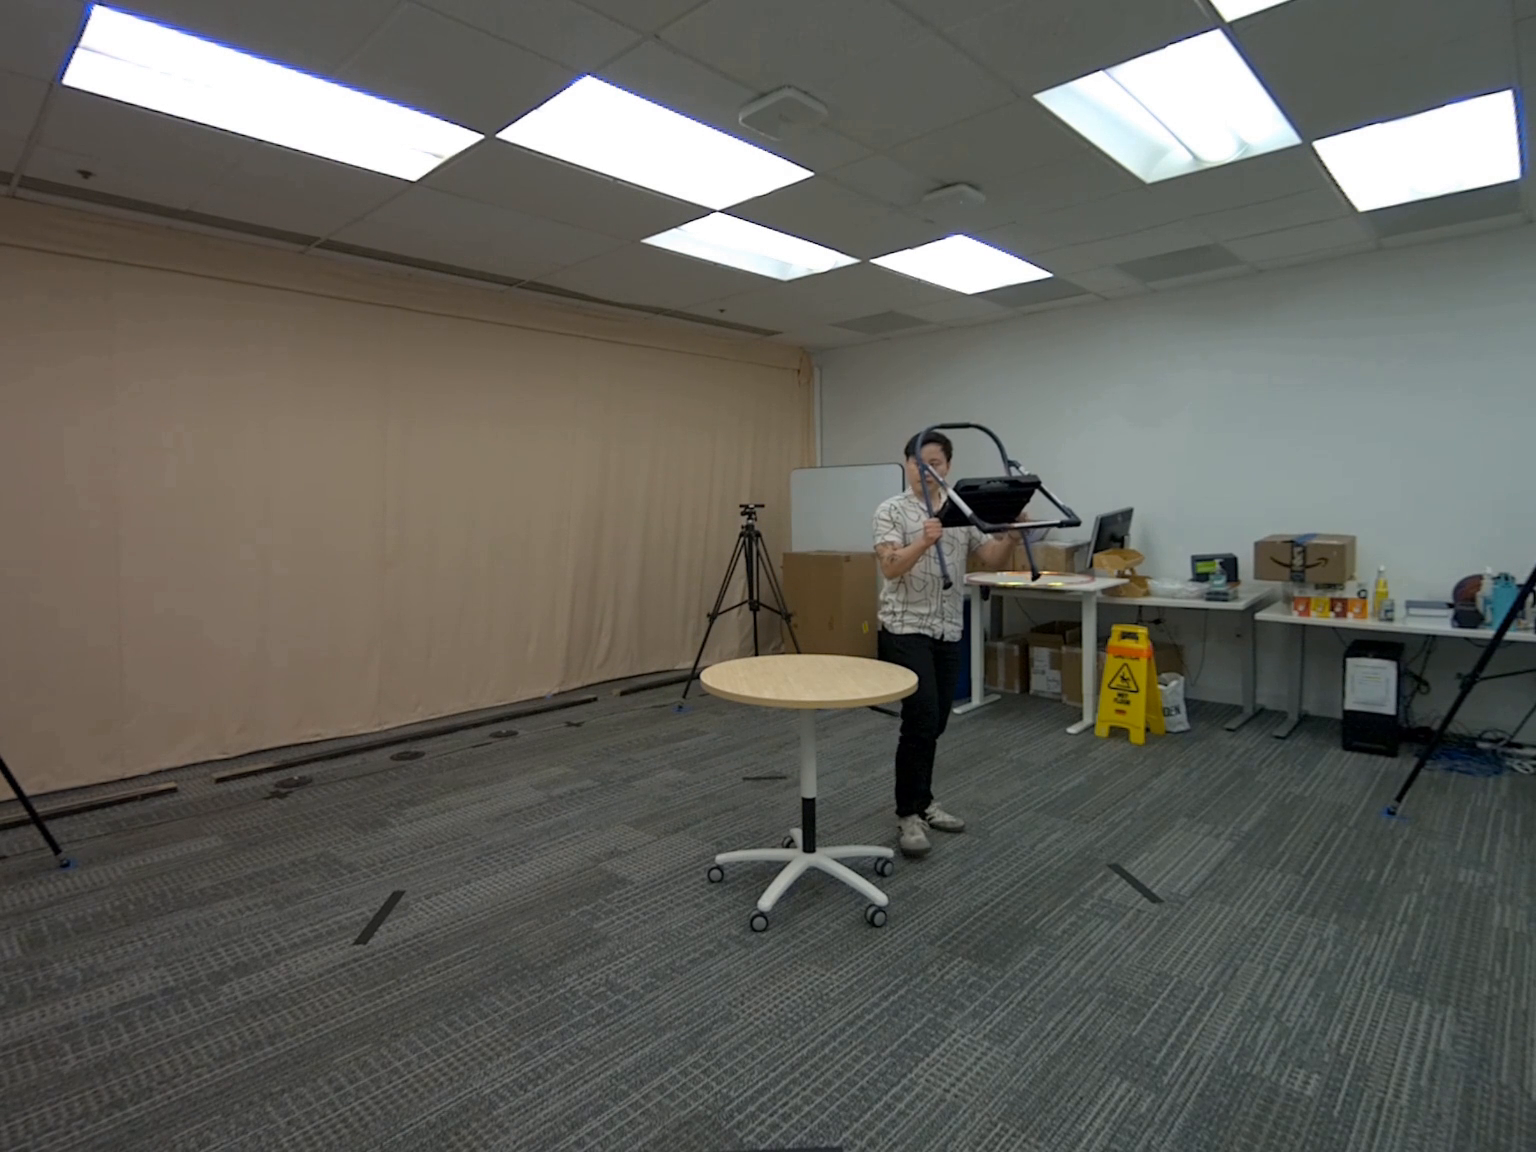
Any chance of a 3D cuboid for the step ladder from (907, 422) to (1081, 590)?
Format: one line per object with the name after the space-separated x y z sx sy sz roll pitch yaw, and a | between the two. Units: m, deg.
0.805 -0.314 3.214 0.422 0.622 0.347 -6 -35 -20 | step ladder
